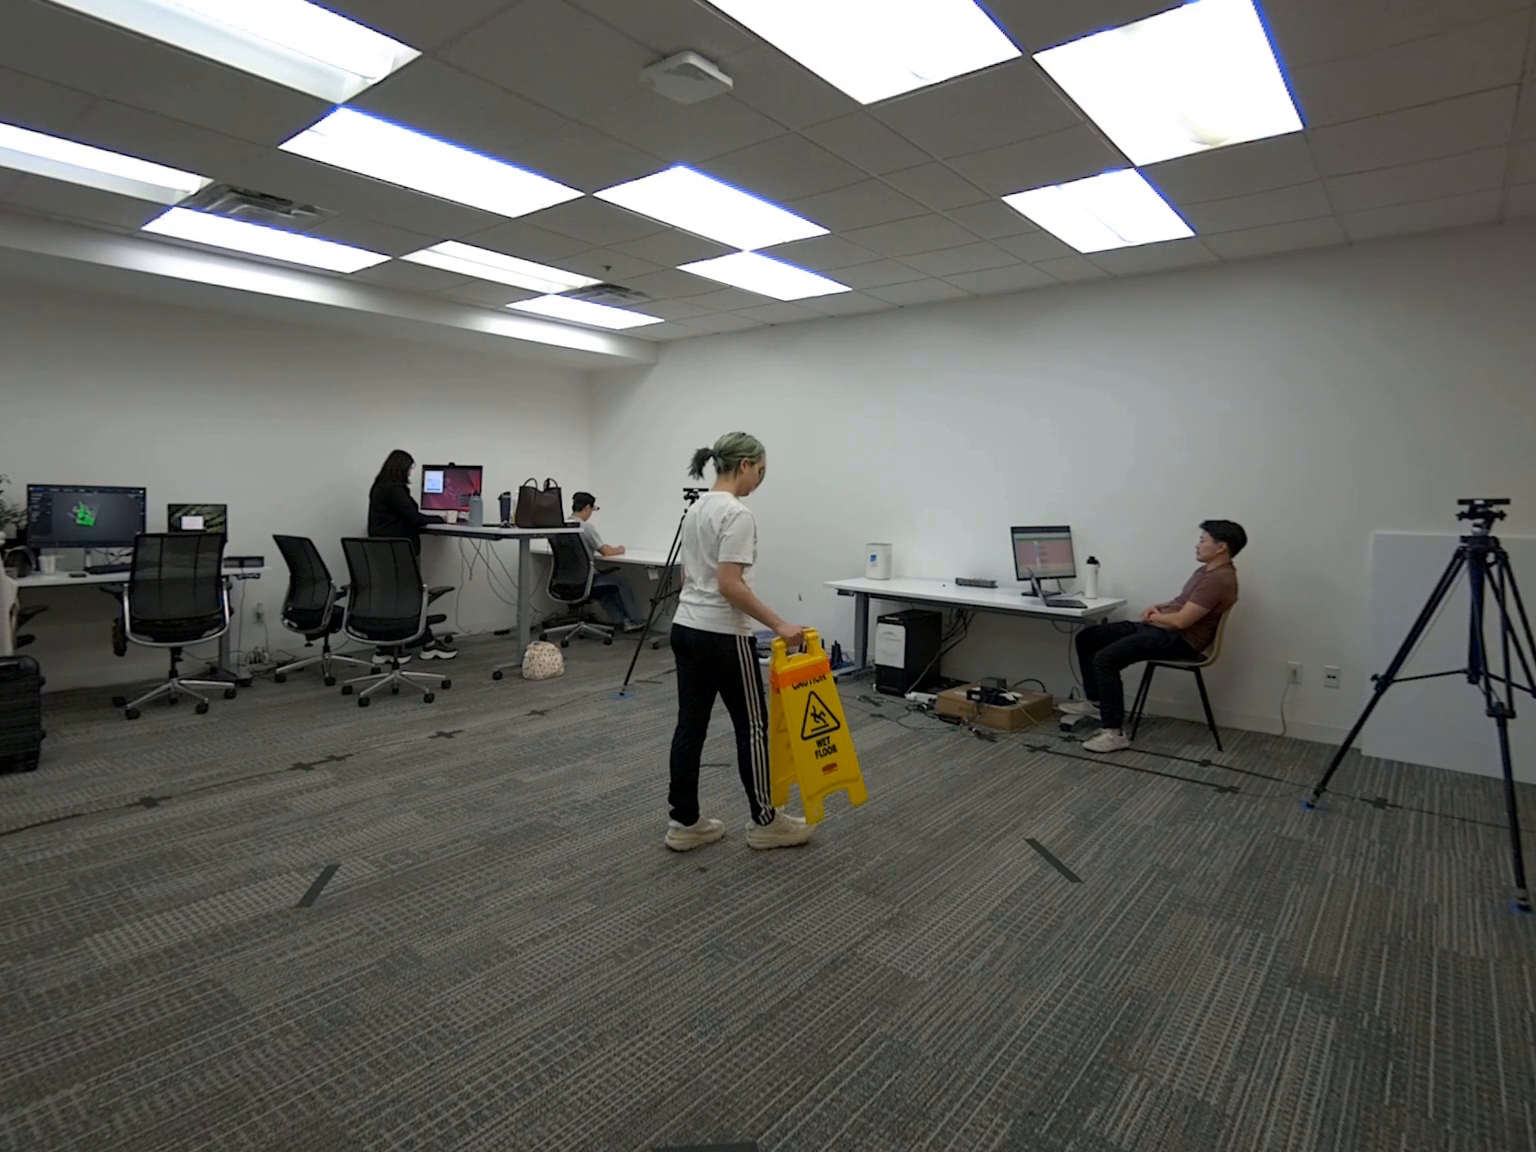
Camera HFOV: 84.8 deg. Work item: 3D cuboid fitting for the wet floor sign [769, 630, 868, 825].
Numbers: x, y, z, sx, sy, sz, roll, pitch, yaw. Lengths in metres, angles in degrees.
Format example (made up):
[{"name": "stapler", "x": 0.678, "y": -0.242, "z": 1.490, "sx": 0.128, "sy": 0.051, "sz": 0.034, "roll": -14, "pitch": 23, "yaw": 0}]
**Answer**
[{"name": "wet floor sign", "x": 0.135, "y": 0.528, "z": 3.146, "sx": 0.276, "sy": 0.642, "sz": 0.298, "roll": -12, "pitch": 7, "yaw": -32}]
